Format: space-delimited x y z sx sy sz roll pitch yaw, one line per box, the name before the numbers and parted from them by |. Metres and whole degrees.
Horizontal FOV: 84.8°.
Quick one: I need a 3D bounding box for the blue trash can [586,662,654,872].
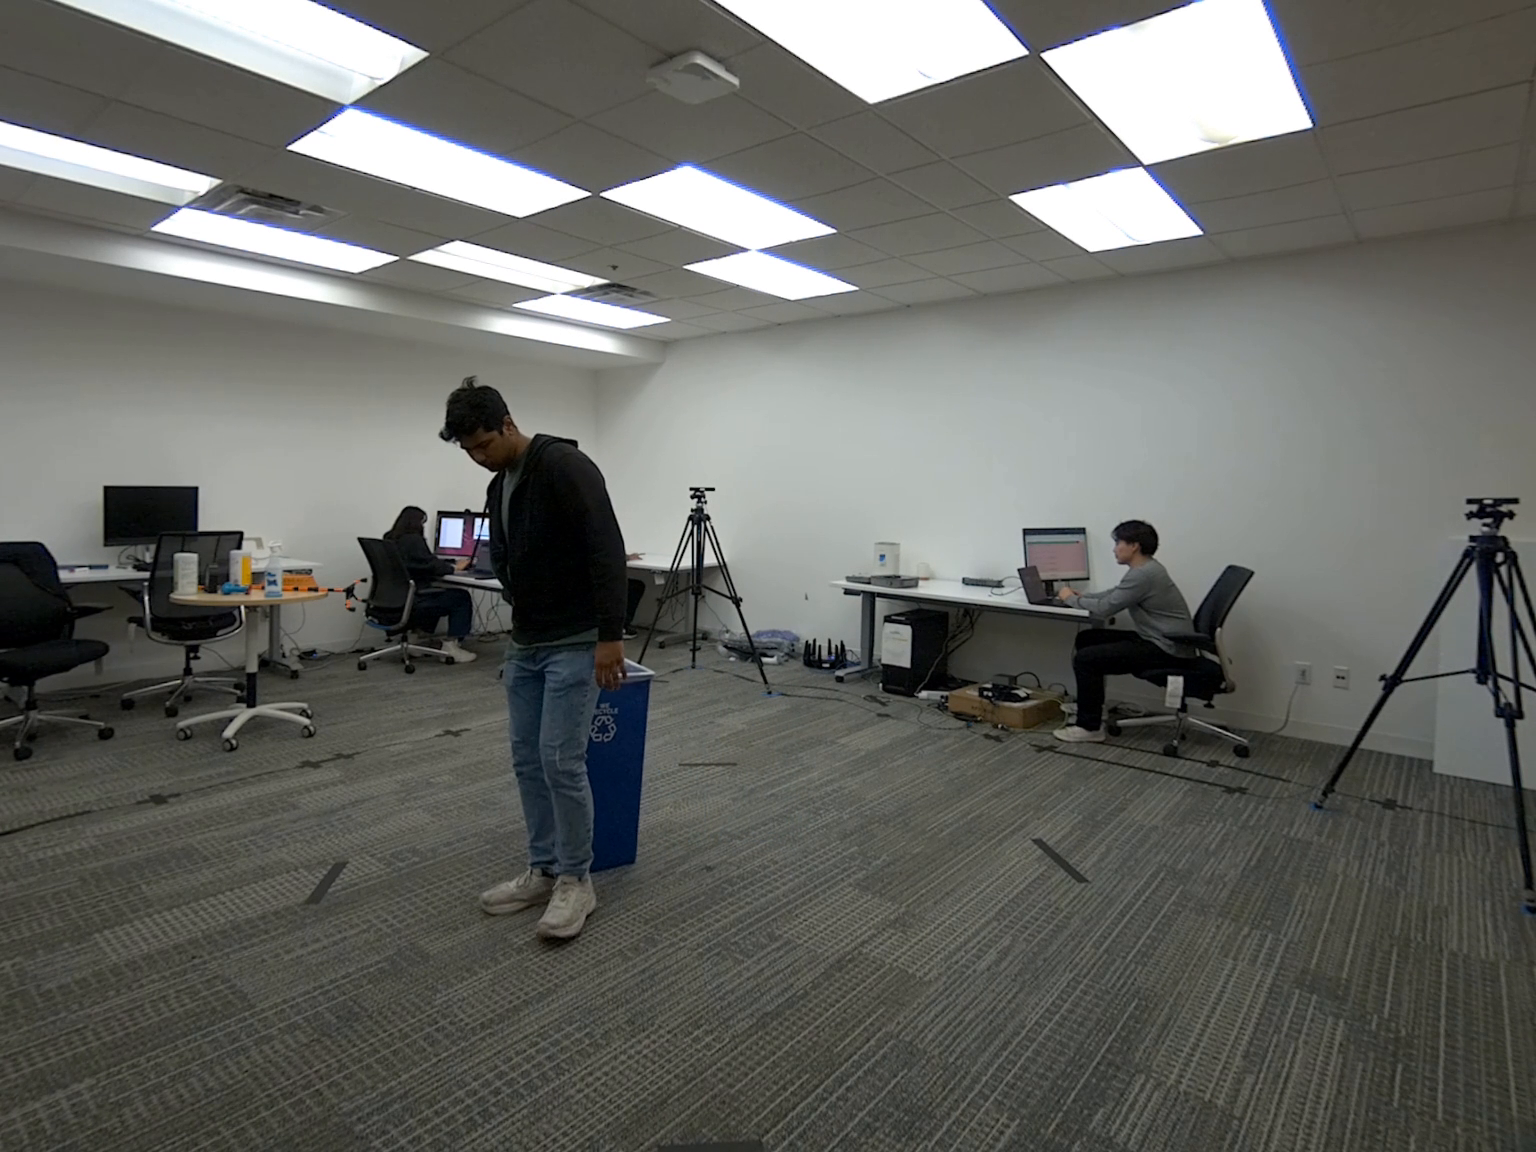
blue trash can | -0.672 0.690 3.185 0.367 0.712 0.386 1 2 -35
